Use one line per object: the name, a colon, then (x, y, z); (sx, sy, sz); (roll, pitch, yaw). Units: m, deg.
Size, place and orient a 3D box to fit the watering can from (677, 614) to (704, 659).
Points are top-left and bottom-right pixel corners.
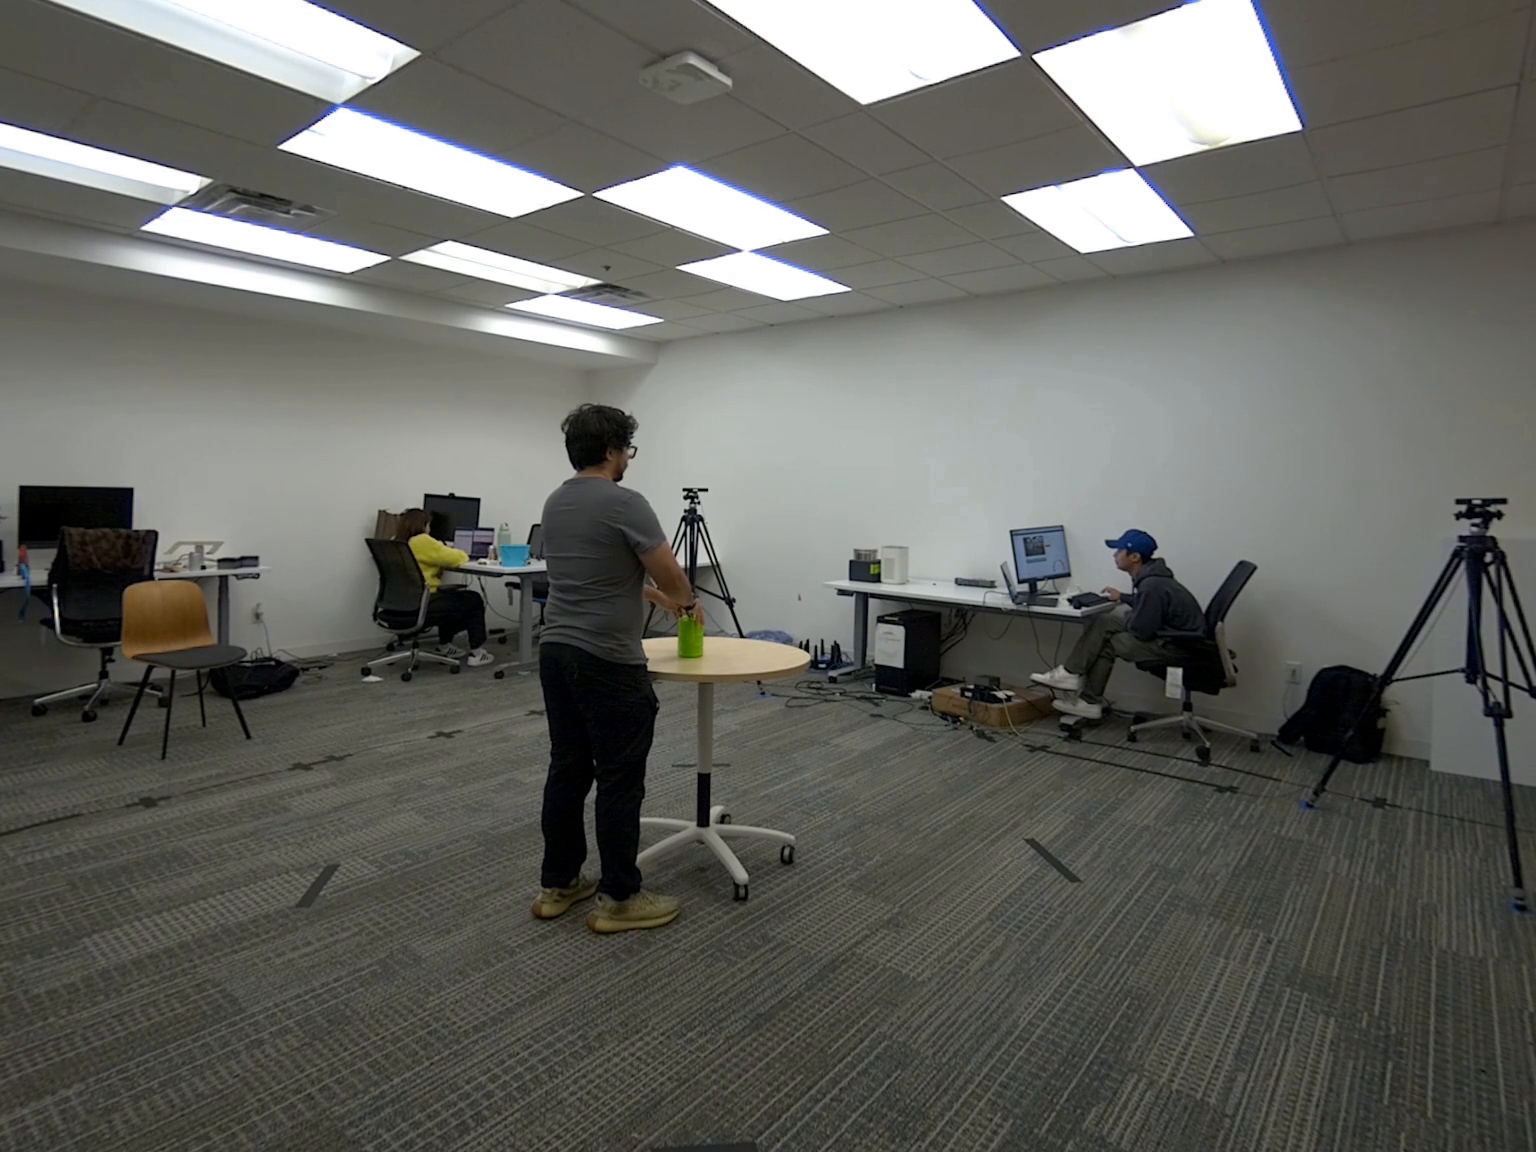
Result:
watering can: (-0.276, 0.197, 3.138); (0.100, 0.175, 0.274); (0, 8, 20)
